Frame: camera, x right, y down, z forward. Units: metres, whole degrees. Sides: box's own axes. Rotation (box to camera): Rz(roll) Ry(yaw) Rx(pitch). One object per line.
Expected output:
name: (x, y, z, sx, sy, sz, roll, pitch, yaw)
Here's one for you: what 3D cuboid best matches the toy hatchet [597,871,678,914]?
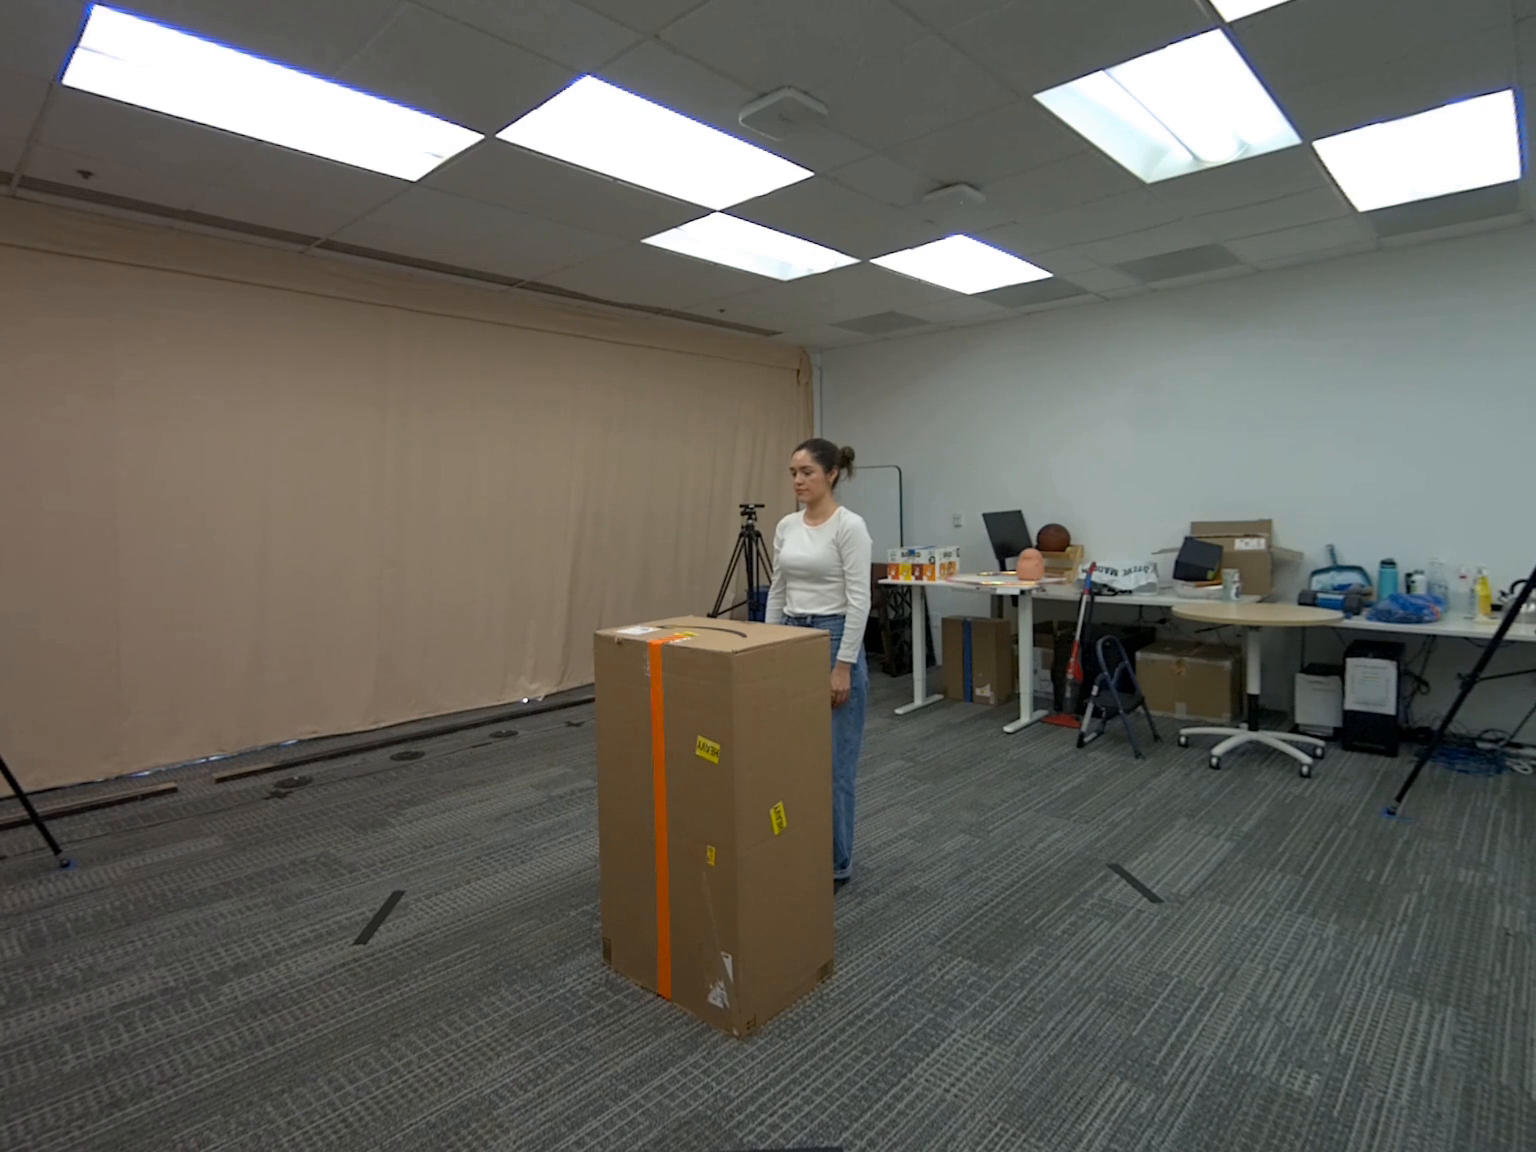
toy hatchet: (-0.469, 1.137, 3.054, 0.135, 0.029, 0.262, 0, 3, 39)
